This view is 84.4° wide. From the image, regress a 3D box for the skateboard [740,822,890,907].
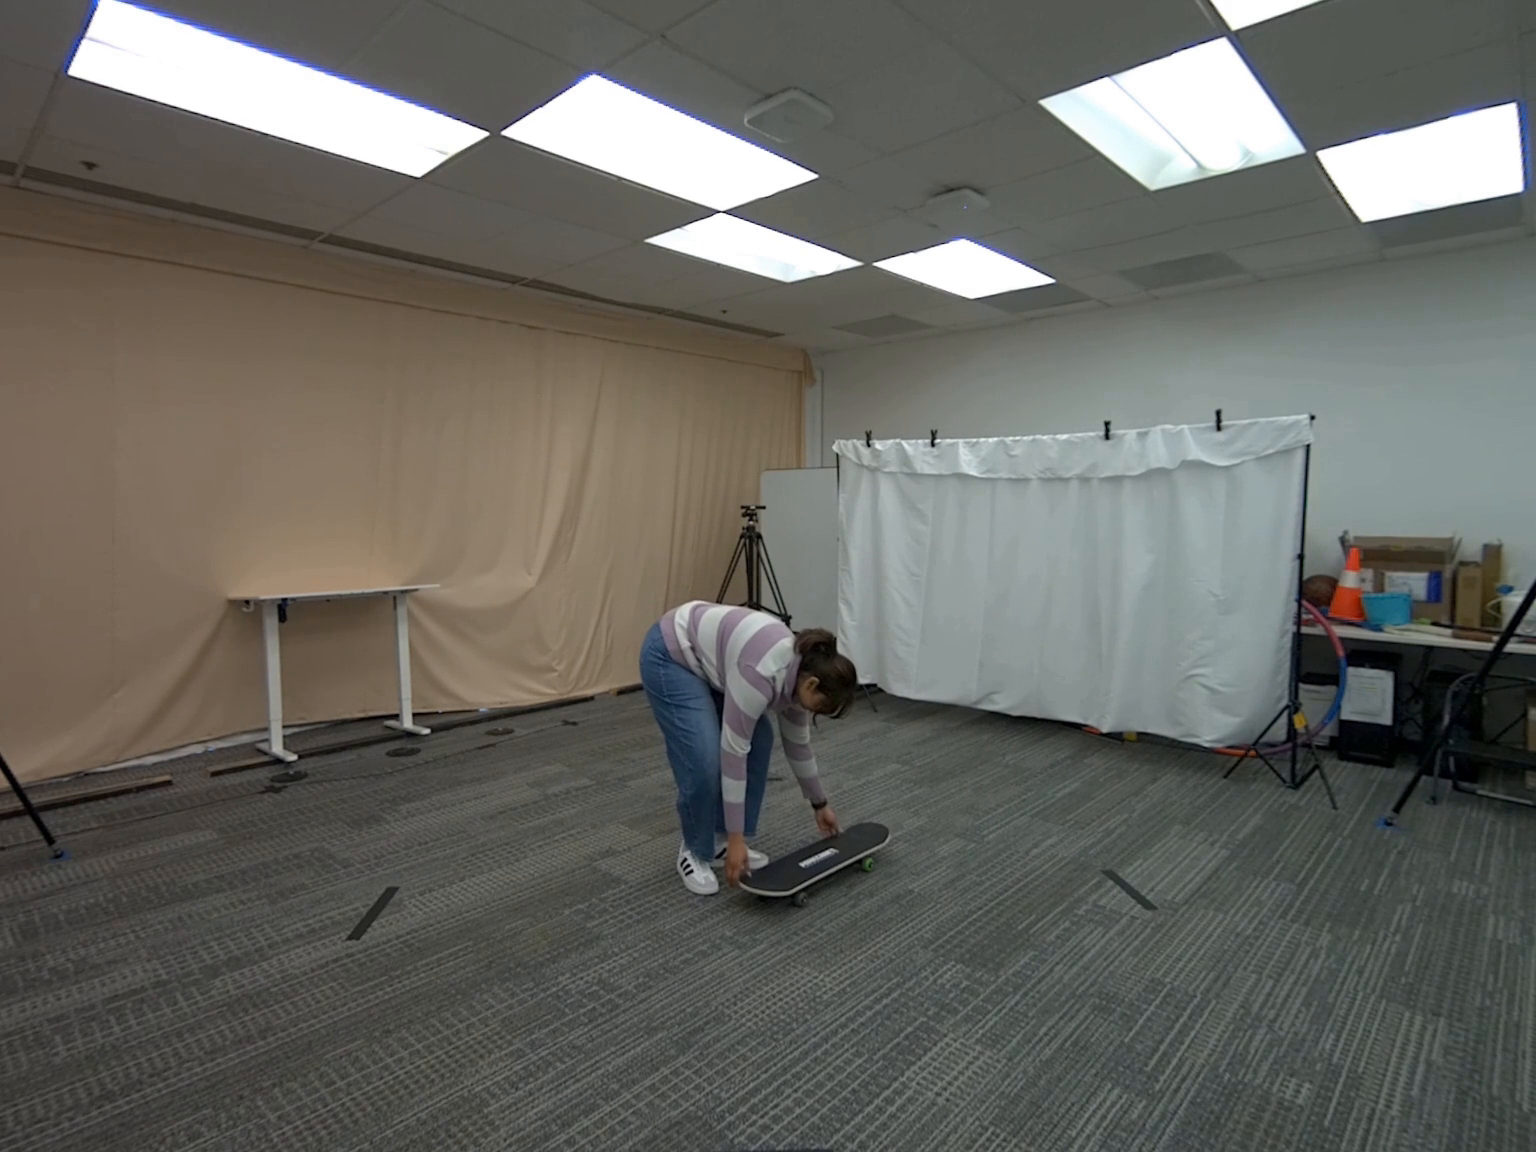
[{"bbox_3d":[0.186,1.068,3.119,0.200,0.110,0.762,5,7,44],"label":"skateboard"}]
